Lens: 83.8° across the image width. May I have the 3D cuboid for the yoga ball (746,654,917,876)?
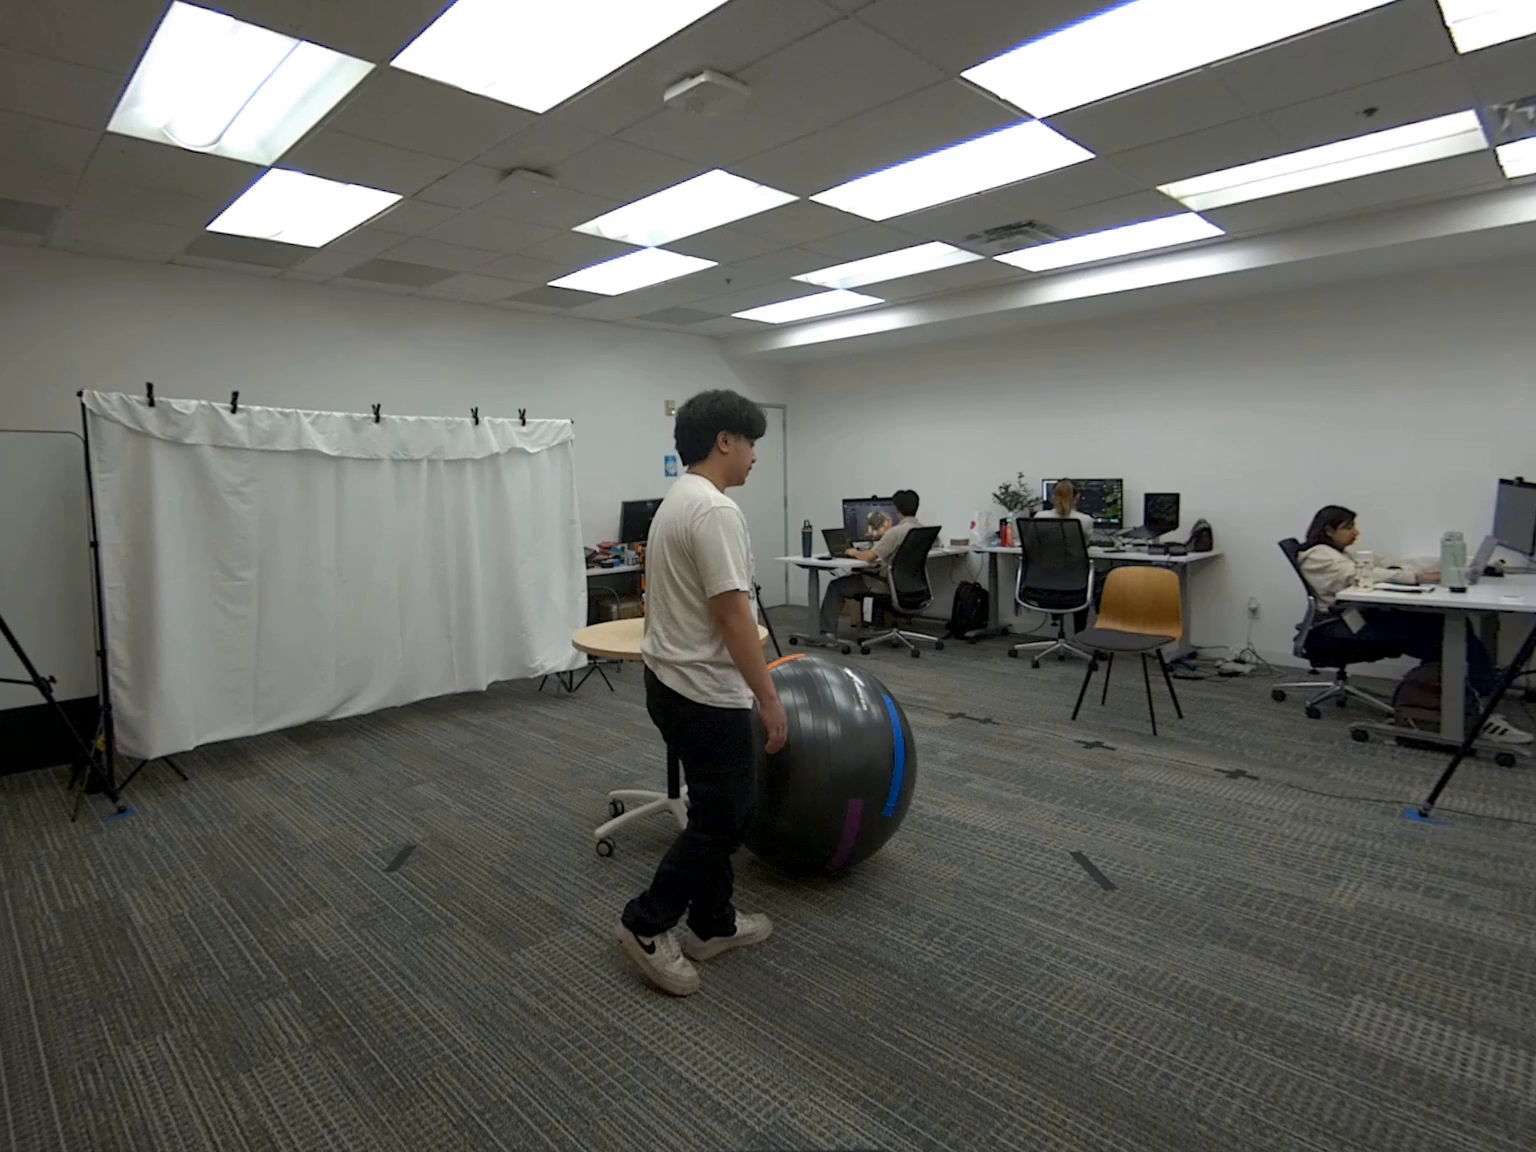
[{"bbox_3d":[0.156,0.670,3.091,0.757,0.755,0.762,-1,5,-2],"label":"yoga ball"}]
